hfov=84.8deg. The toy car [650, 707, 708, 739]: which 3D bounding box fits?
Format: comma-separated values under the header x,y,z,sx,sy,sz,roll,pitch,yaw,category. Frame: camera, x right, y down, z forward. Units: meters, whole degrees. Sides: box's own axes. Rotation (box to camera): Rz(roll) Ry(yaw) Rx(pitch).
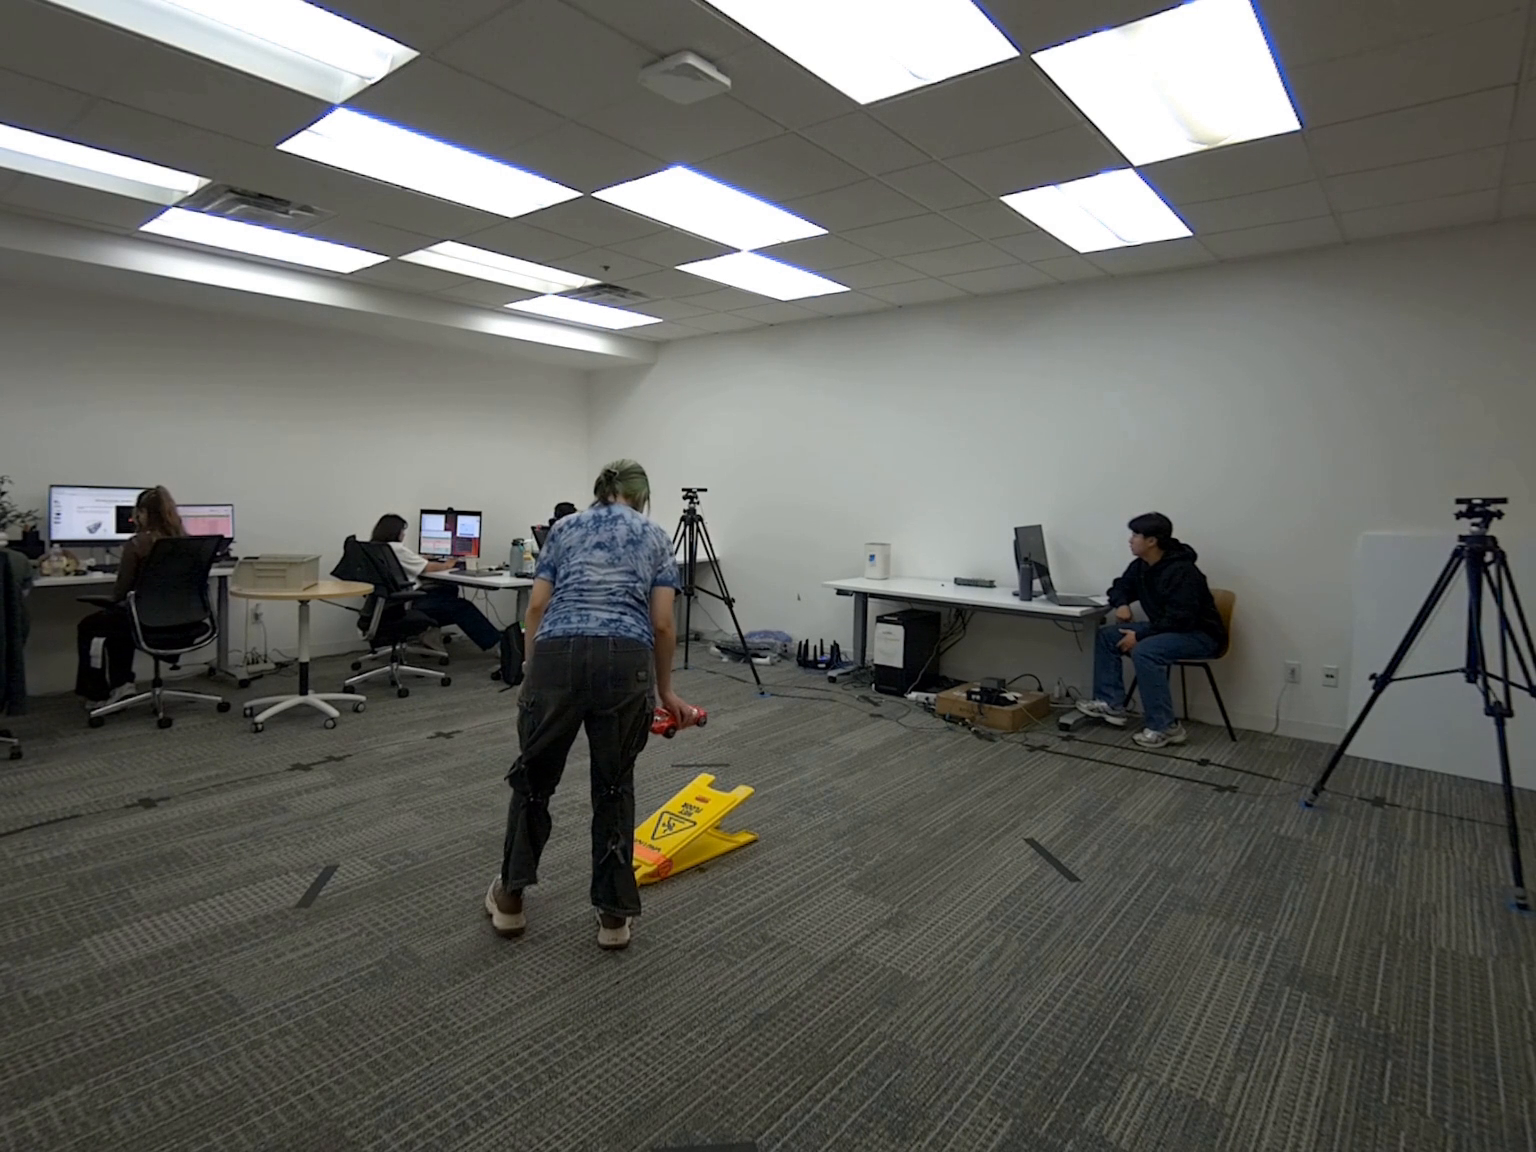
x,y,z,sx,sy,sz,roll,pitch,yaw,category
-0.336,0.484,2.845,0.135,0.083,0.246,14,7,43,toy car
